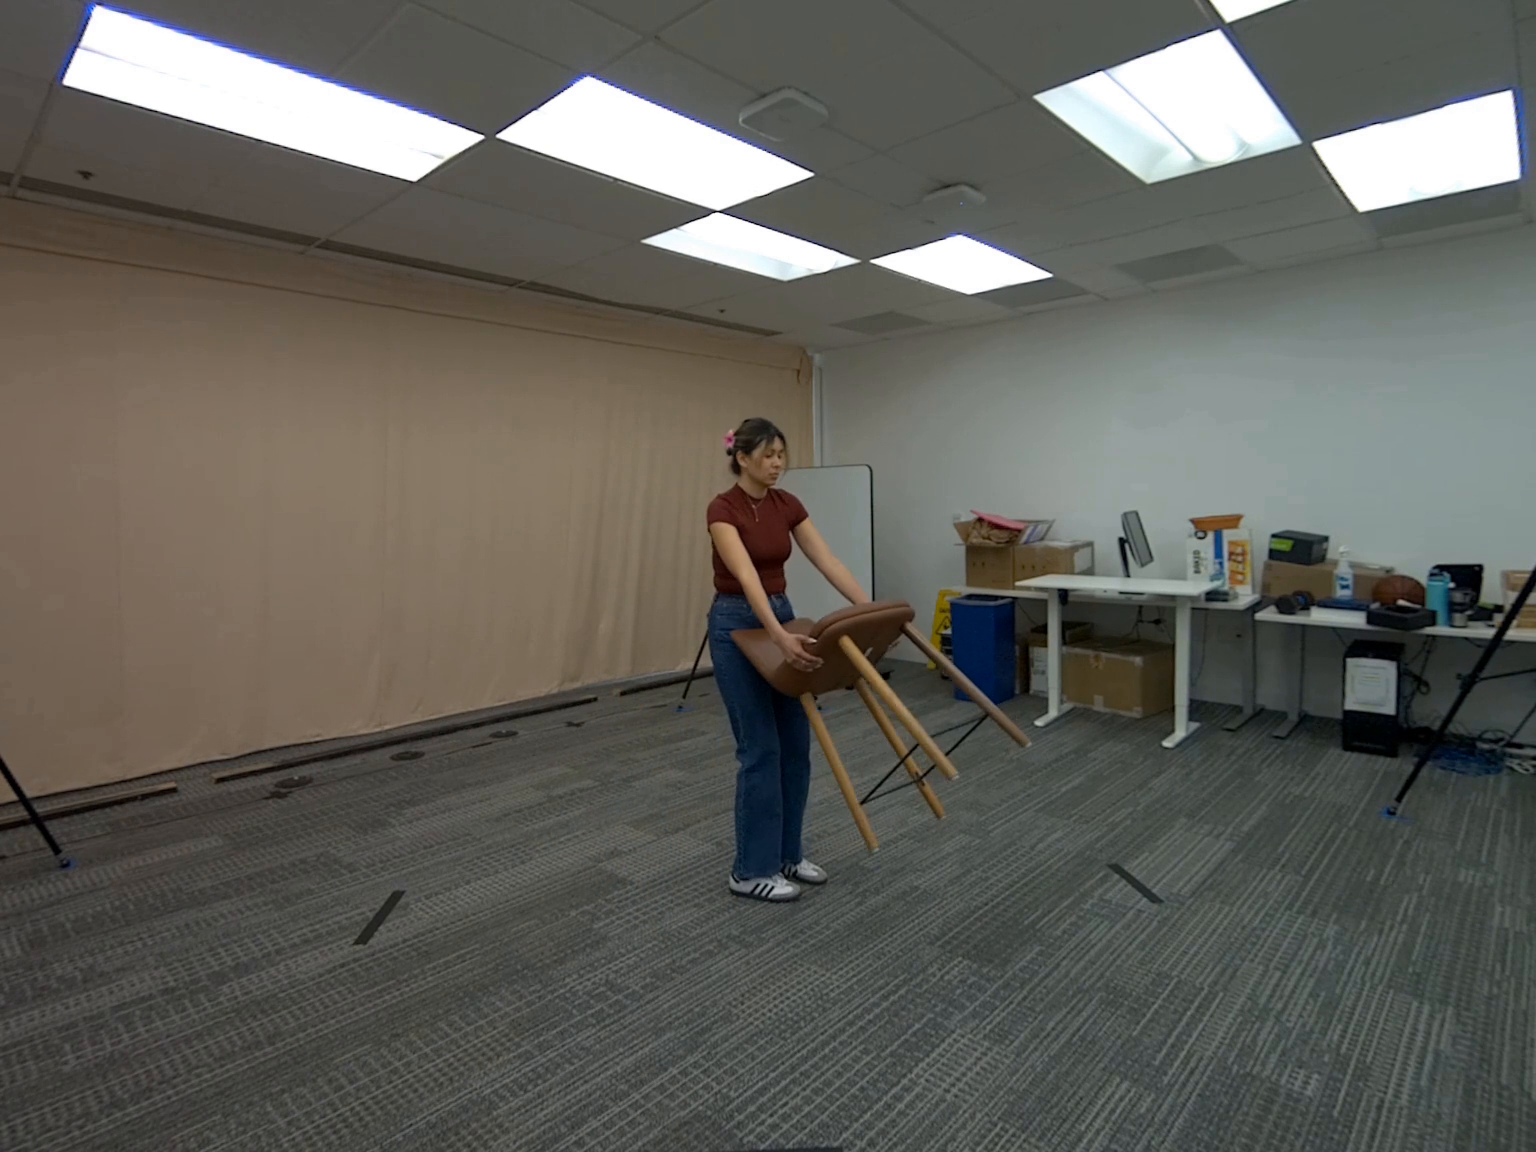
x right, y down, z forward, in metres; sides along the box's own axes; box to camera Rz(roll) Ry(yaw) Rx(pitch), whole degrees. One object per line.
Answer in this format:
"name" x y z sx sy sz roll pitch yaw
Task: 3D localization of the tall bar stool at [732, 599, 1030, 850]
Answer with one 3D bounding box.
"tall bar stool" 0.324 0.362 2.746 0.443 0.467 0.916 -7 50 -41
